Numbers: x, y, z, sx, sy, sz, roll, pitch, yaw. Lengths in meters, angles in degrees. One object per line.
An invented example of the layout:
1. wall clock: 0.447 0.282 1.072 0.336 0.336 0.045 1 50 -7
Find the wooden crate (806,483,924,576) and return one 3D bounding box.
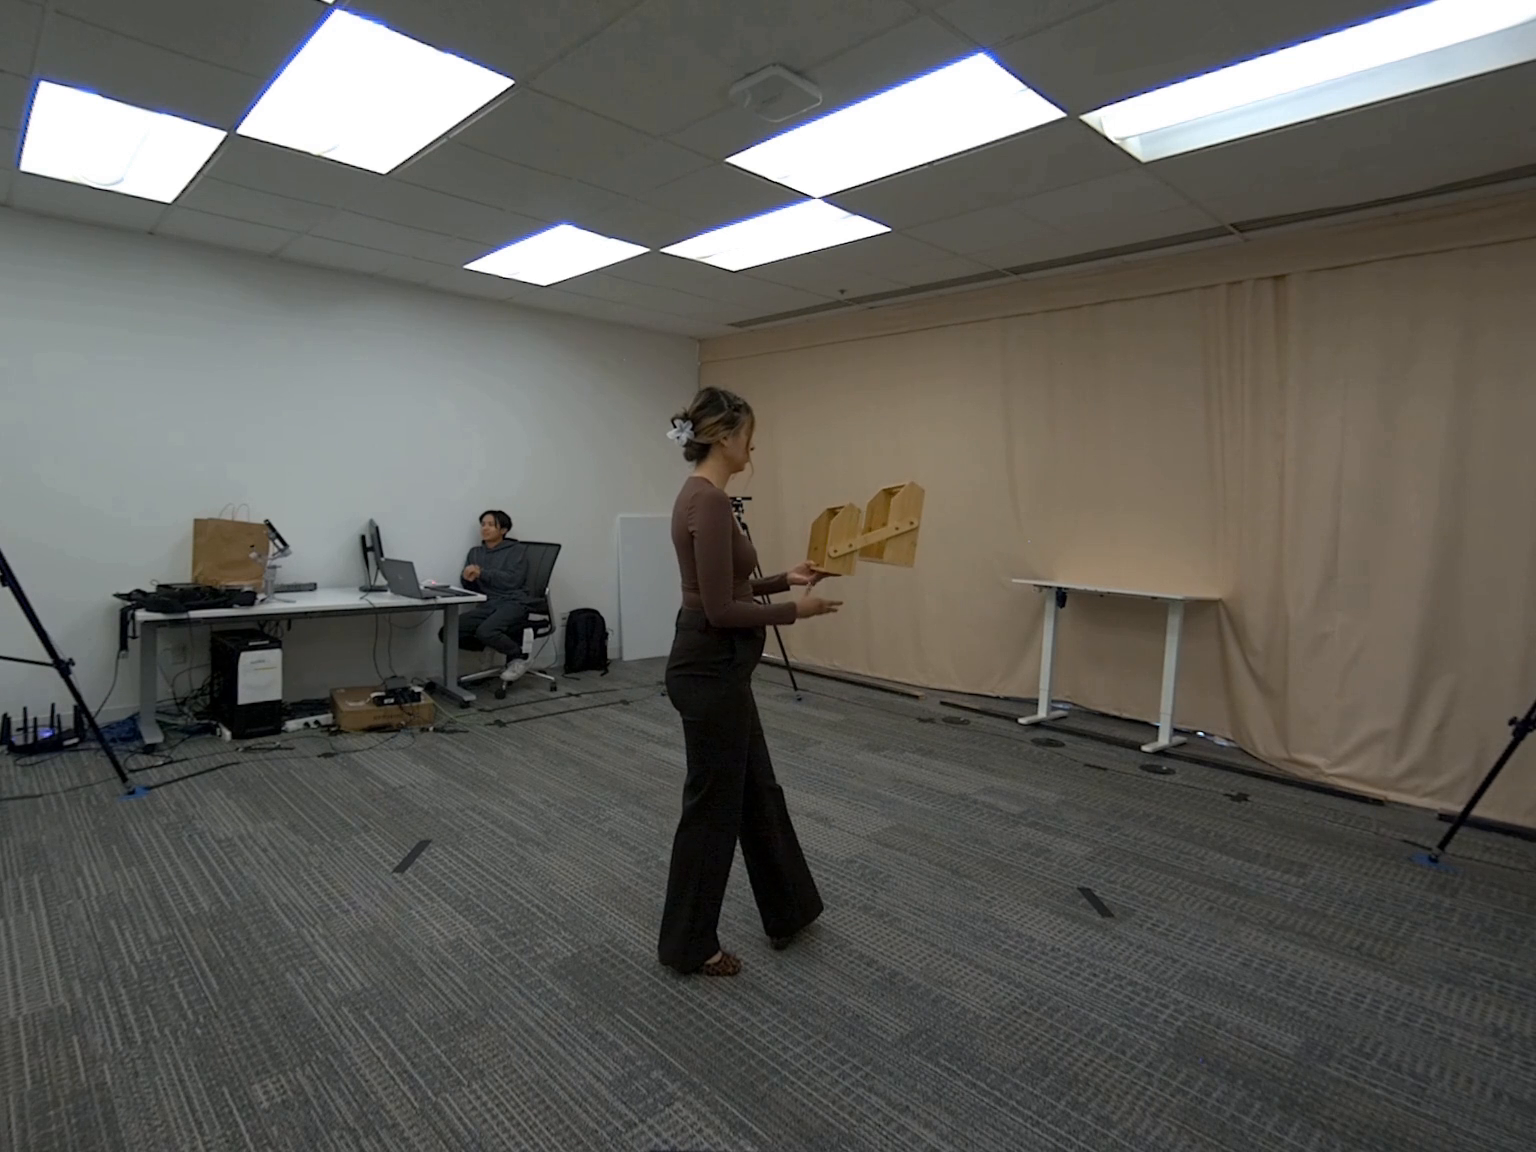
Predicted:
1. wooden crate: 0.283 -0.148 2.574 0.272 0.302 0.326 9 1 -7
